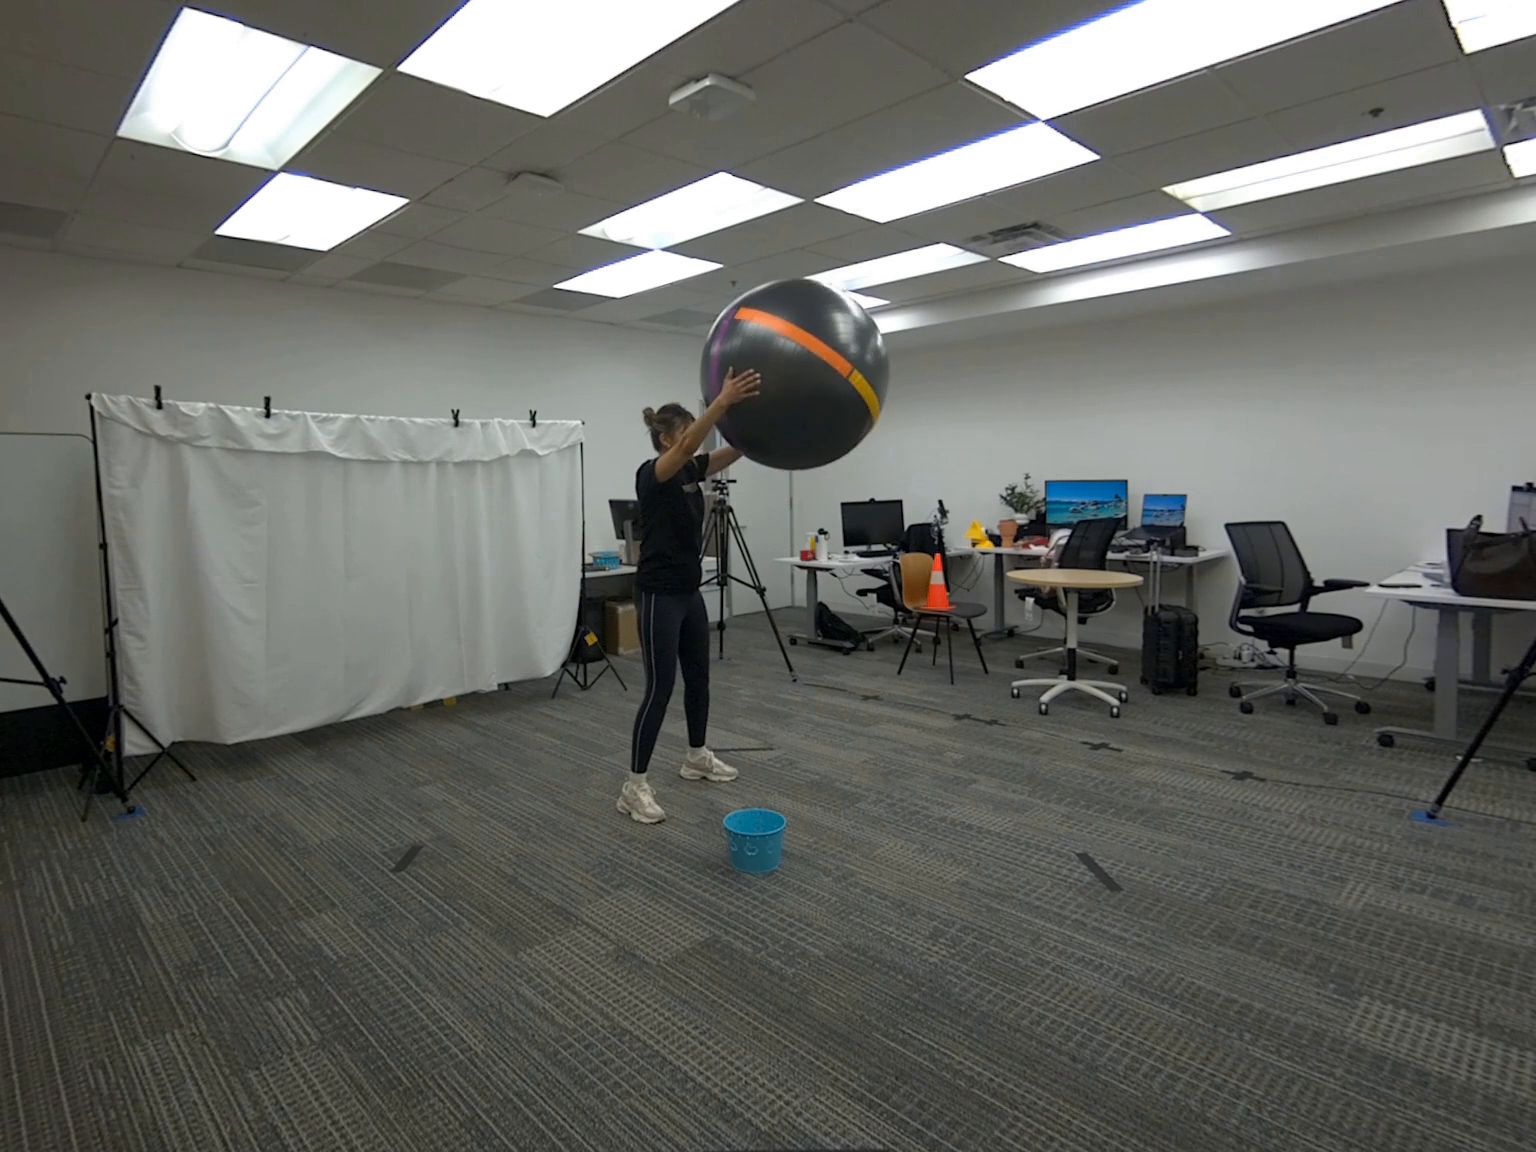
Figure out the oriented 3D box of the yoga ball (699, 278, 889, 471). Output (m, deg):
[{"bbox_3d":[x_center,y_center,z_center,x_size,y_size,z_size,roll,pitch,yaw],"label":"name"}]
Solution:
[{"bbox_3d":[0.100,-0.793,3.438,0.757,0.755,0.762,-1,5,-2],"label":"yoga ball"}]
